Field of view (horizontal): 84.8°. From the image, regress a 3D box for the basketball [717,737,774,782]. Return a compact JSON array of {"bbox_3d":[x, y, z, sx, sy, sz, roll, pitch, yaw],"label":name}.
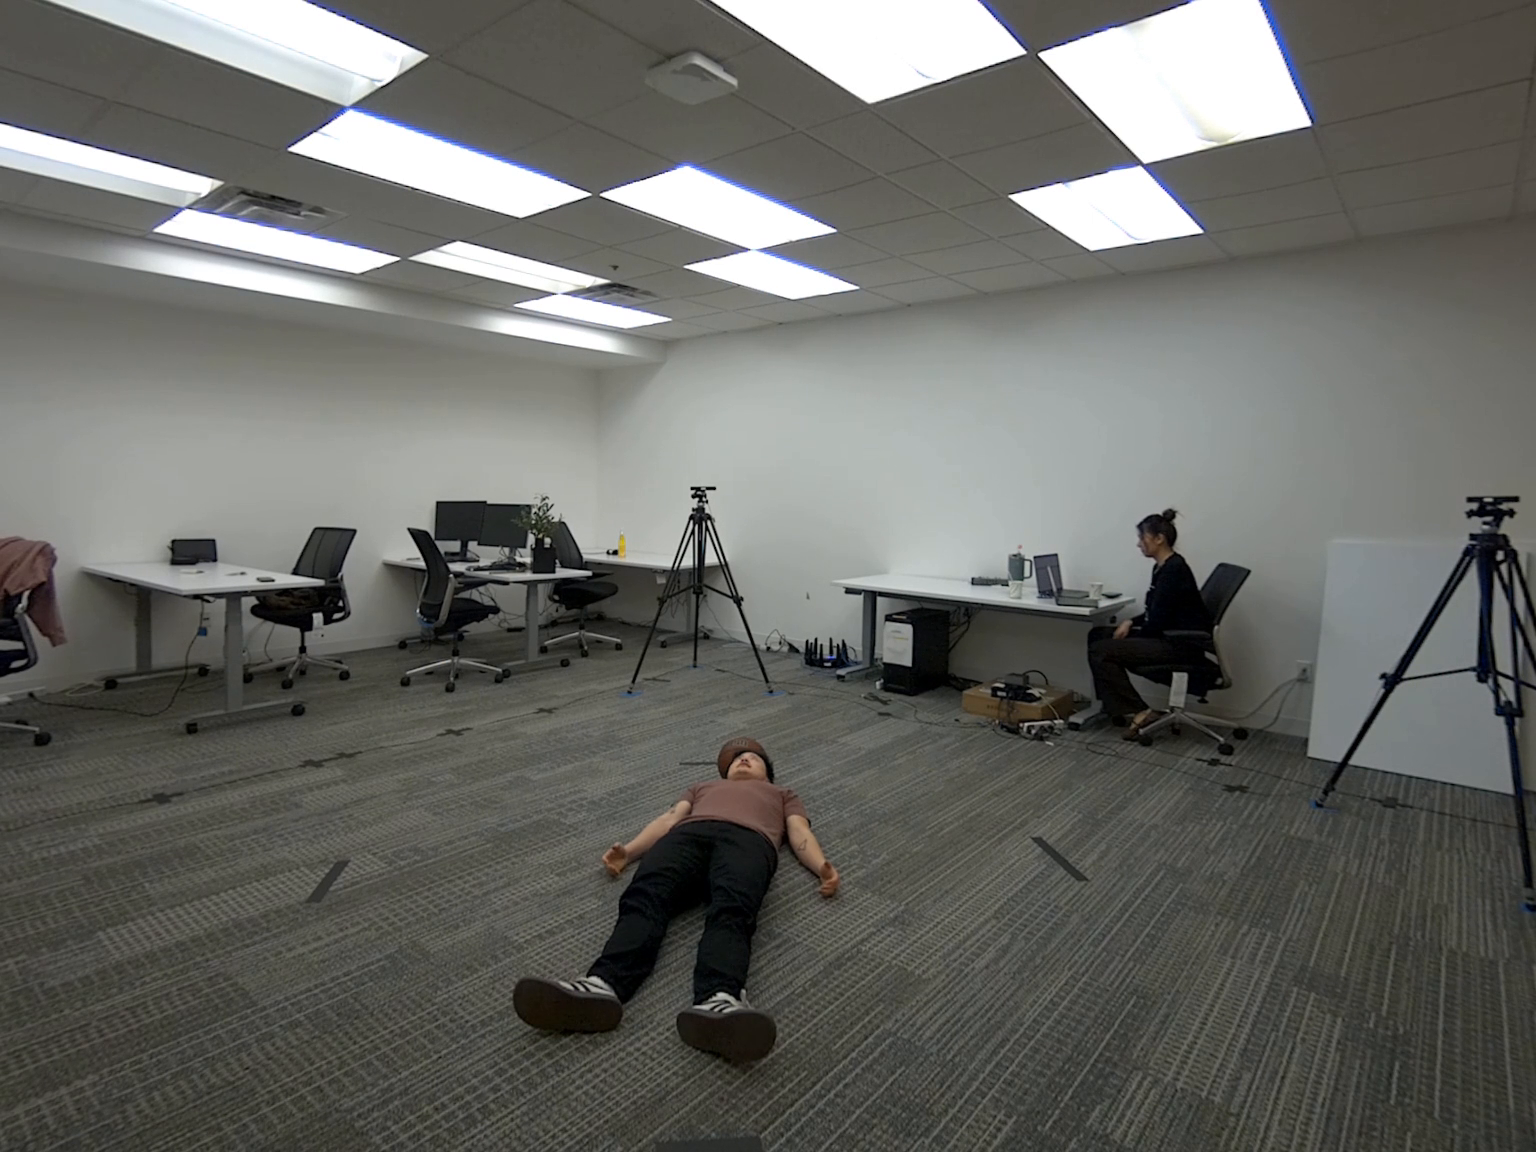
[{"bbox_3d":[-0.133,0.863,3.951,0.236,0.235,0.237,-3,3,-2],"label":"basketball"}]
